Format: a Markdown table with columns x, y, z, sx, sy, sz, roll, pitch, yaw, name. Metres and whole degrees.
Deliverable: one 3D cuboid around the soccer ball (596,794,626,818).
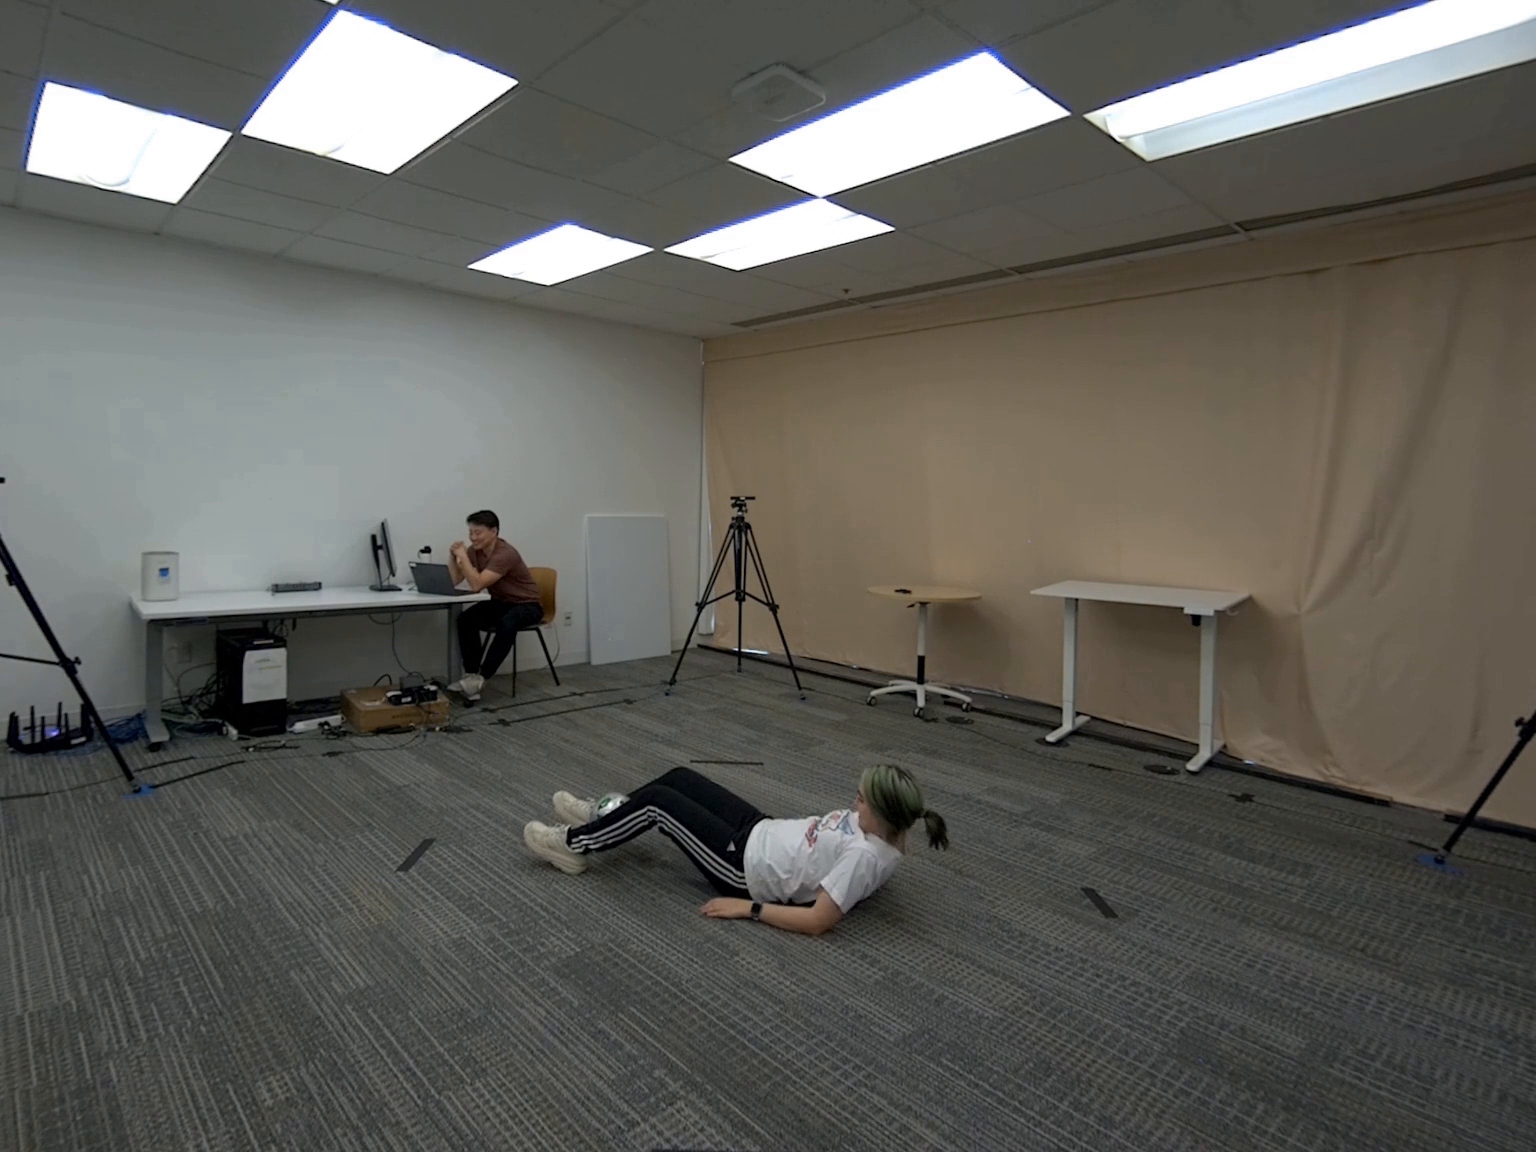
| x | y | z | sx | sy | sz | roll | pitch | yaw | name |
| --- | --- | --- | --- | --- | --- | --- | --- | --- | --- |
| -0.584 | 0.923 | 3.189 | 0.187 | 0.187 | 0.188 | 1 | 4 | -1 | soccer ball |
